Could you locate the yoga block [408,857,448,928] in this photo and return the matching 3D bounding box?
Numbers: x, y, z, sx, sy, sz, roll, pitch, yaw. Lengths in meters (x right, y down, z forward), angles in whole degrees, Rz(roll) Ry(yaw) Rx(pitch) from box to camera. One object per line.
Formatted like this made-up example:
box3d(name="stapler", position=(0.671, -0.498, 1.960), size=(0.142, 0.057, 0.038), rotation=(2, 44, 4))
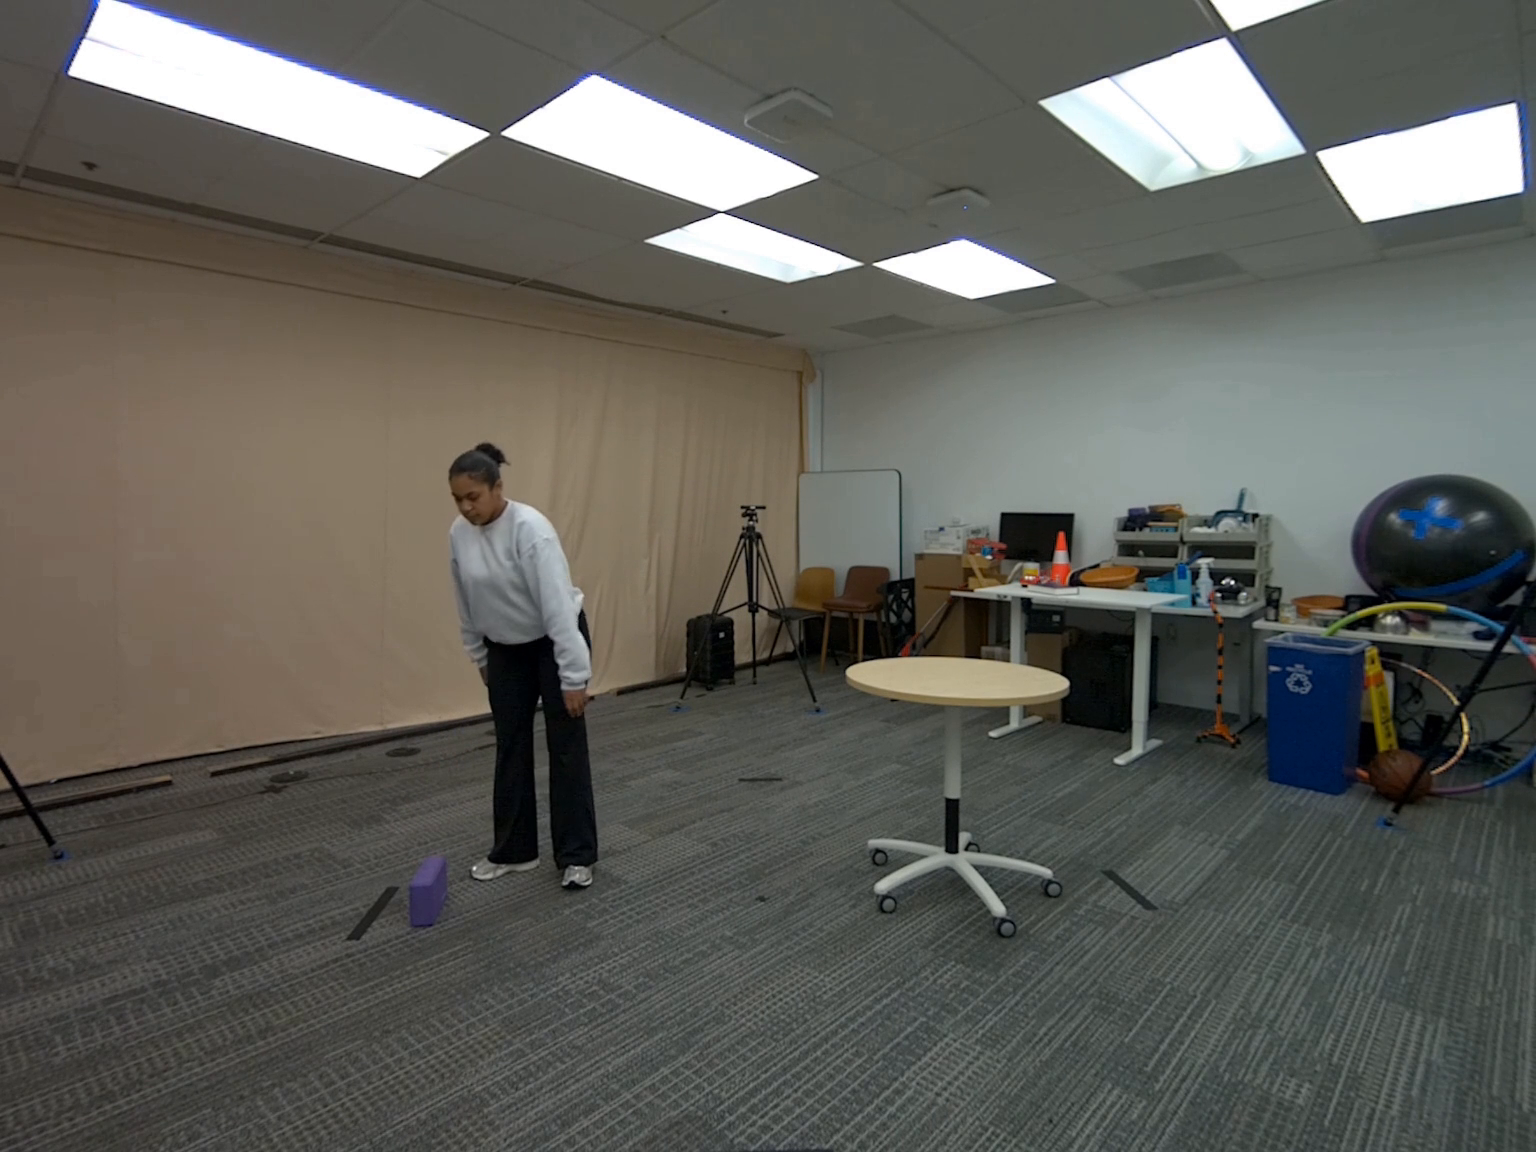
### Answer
box3d(name="yoga block", position=(-1.172, 1.085, 2.909), size=(0.076, 0.148, 0.232), rotation=(-1, 6, -9))
